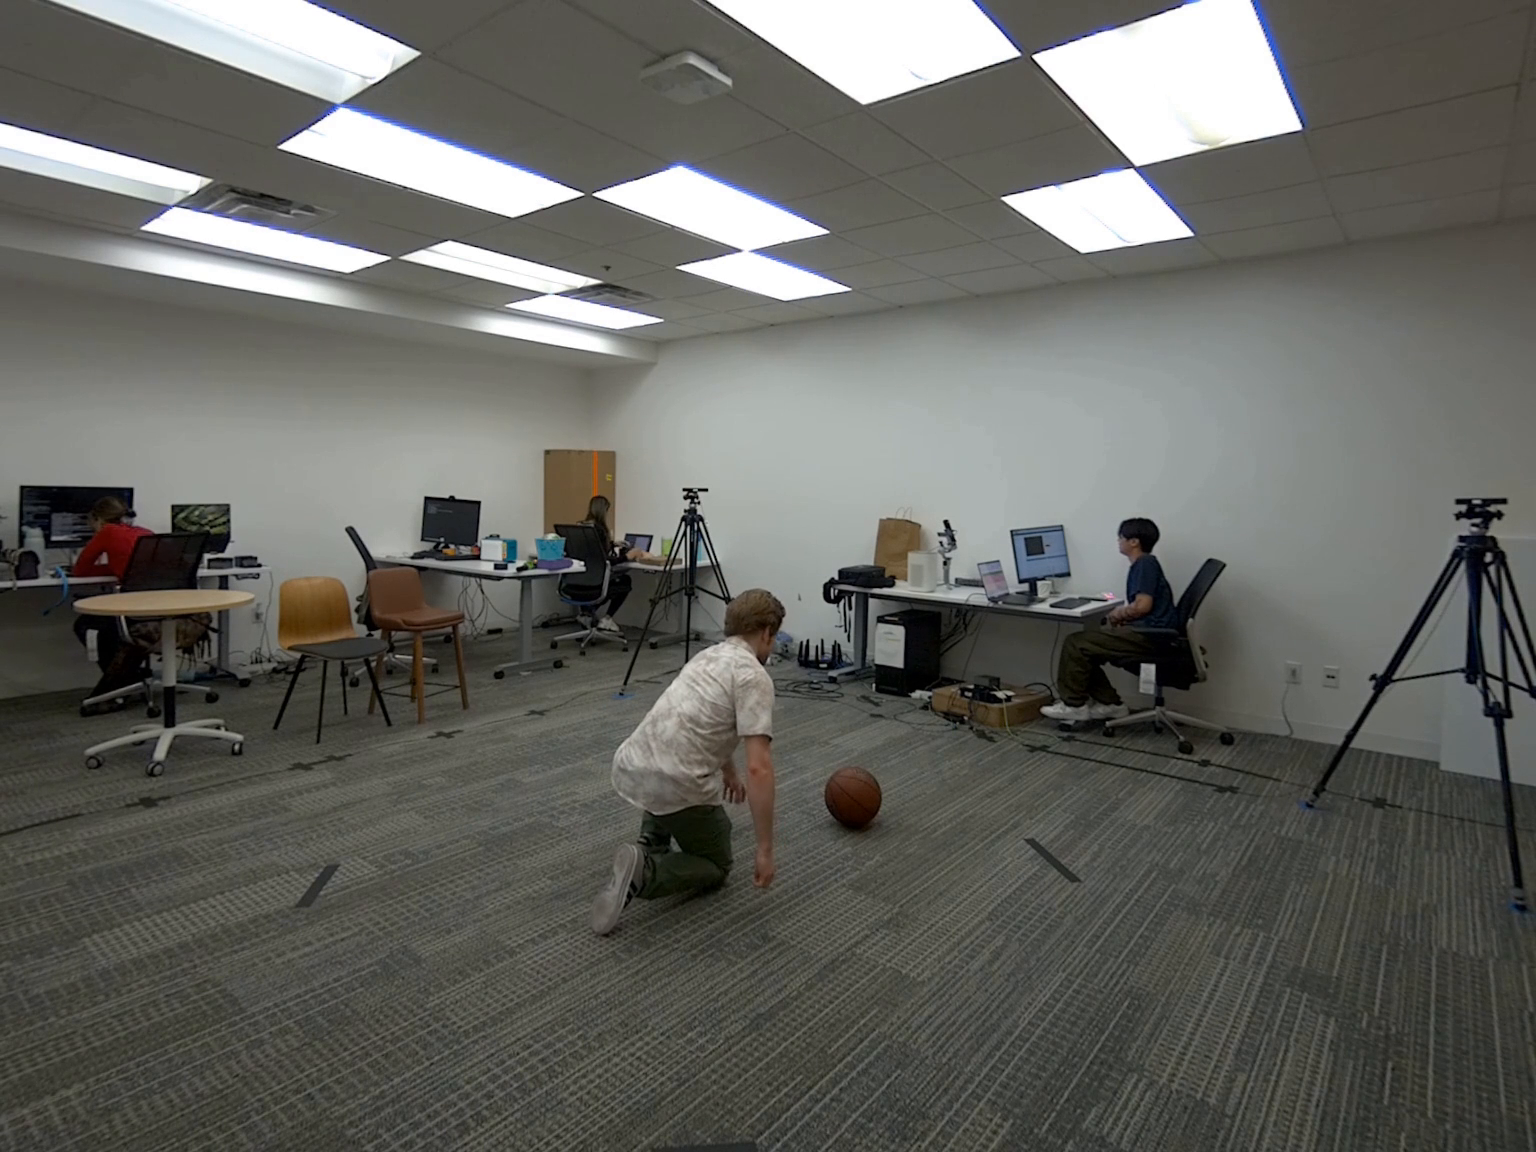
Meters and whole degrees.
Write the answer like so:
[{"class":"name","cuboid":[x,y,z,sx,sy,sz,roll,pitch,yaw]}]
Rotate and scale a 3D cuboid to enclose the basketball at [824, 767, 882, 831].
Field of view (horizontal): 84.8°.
[{"class":"basketball","cuboid":[0.354,0.917,3.564,0.235,0.235,0.237,1,4,-2]}]
